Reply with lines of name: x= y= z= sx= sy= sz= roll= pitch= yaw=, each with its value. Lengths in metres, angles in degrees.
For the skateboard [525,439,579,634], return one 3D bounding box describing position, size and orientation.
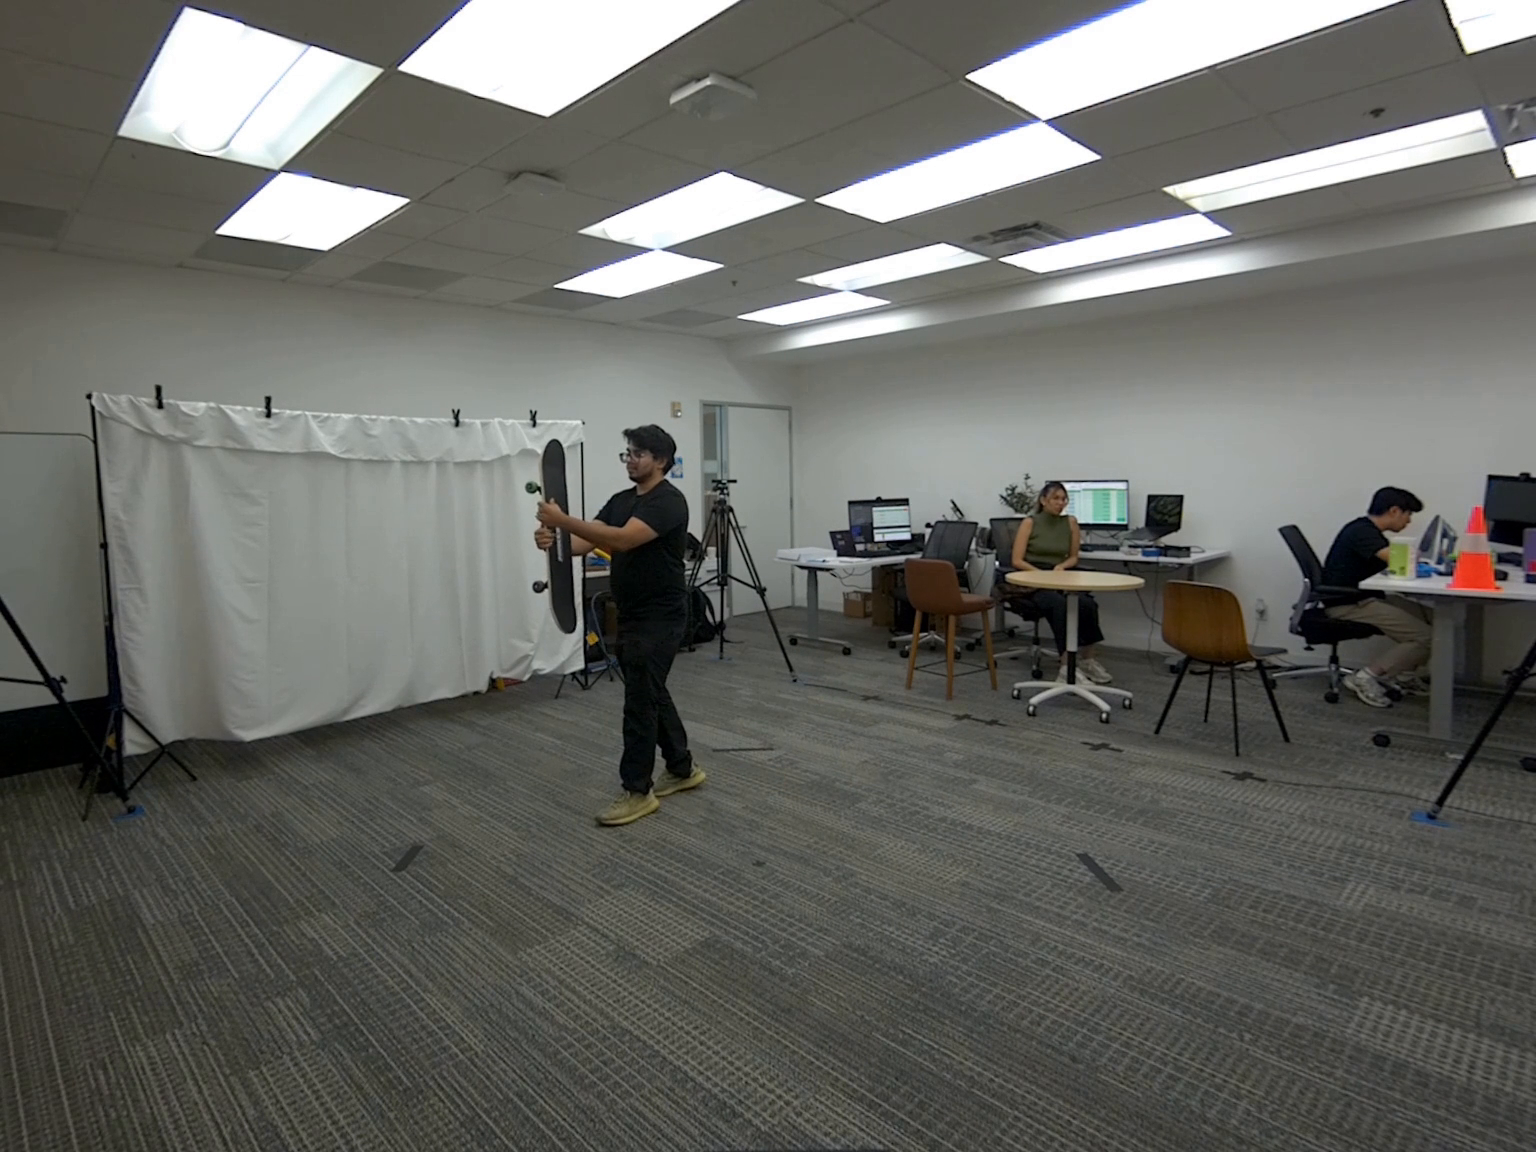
skateboard: x=-0.875 y=-0.149 z=3.440 sx=0.111 sy=0.790 sz=0.190 roll=-7 pitch=-5 yaw=13
